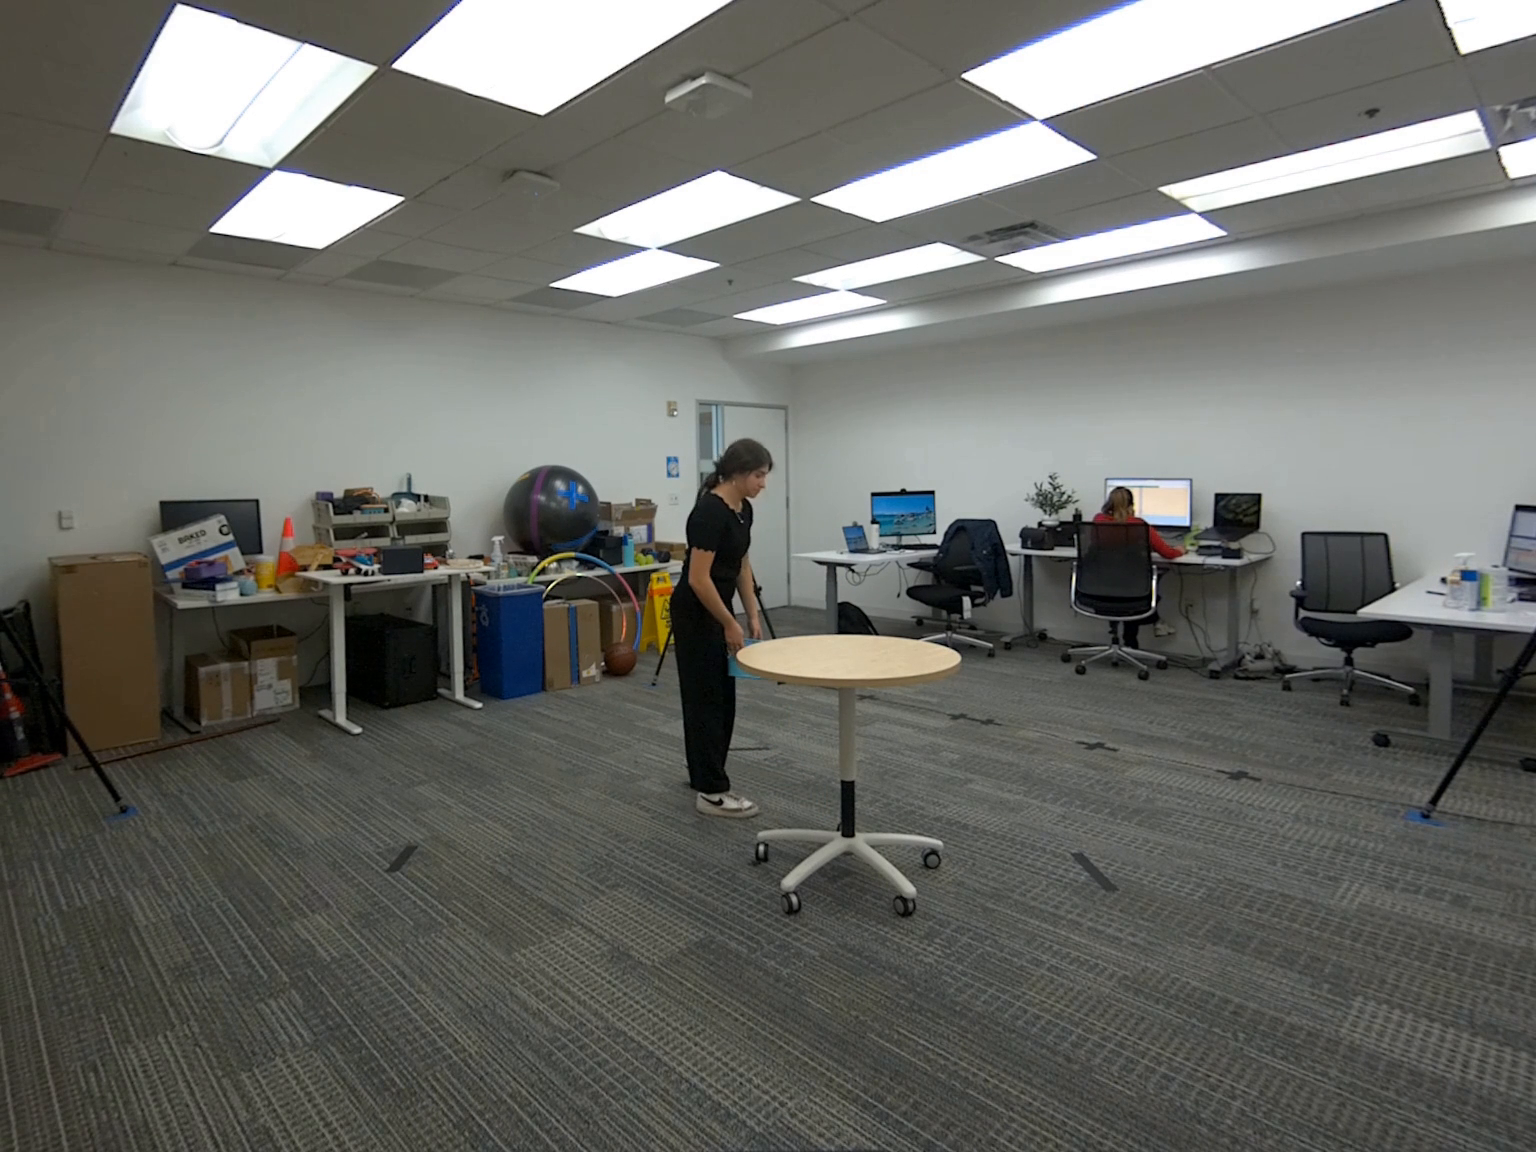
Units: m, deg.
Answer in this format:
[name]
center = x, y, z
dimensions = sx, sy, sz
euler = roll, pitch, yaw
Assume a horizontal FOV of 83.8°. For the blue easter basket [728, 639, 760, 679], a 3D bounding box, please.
[blue easter basket]
center = -0.086, 0.354, 3.611
dimensions = 0.243, 0.157, 0.241
euler = 4, -11, -1
